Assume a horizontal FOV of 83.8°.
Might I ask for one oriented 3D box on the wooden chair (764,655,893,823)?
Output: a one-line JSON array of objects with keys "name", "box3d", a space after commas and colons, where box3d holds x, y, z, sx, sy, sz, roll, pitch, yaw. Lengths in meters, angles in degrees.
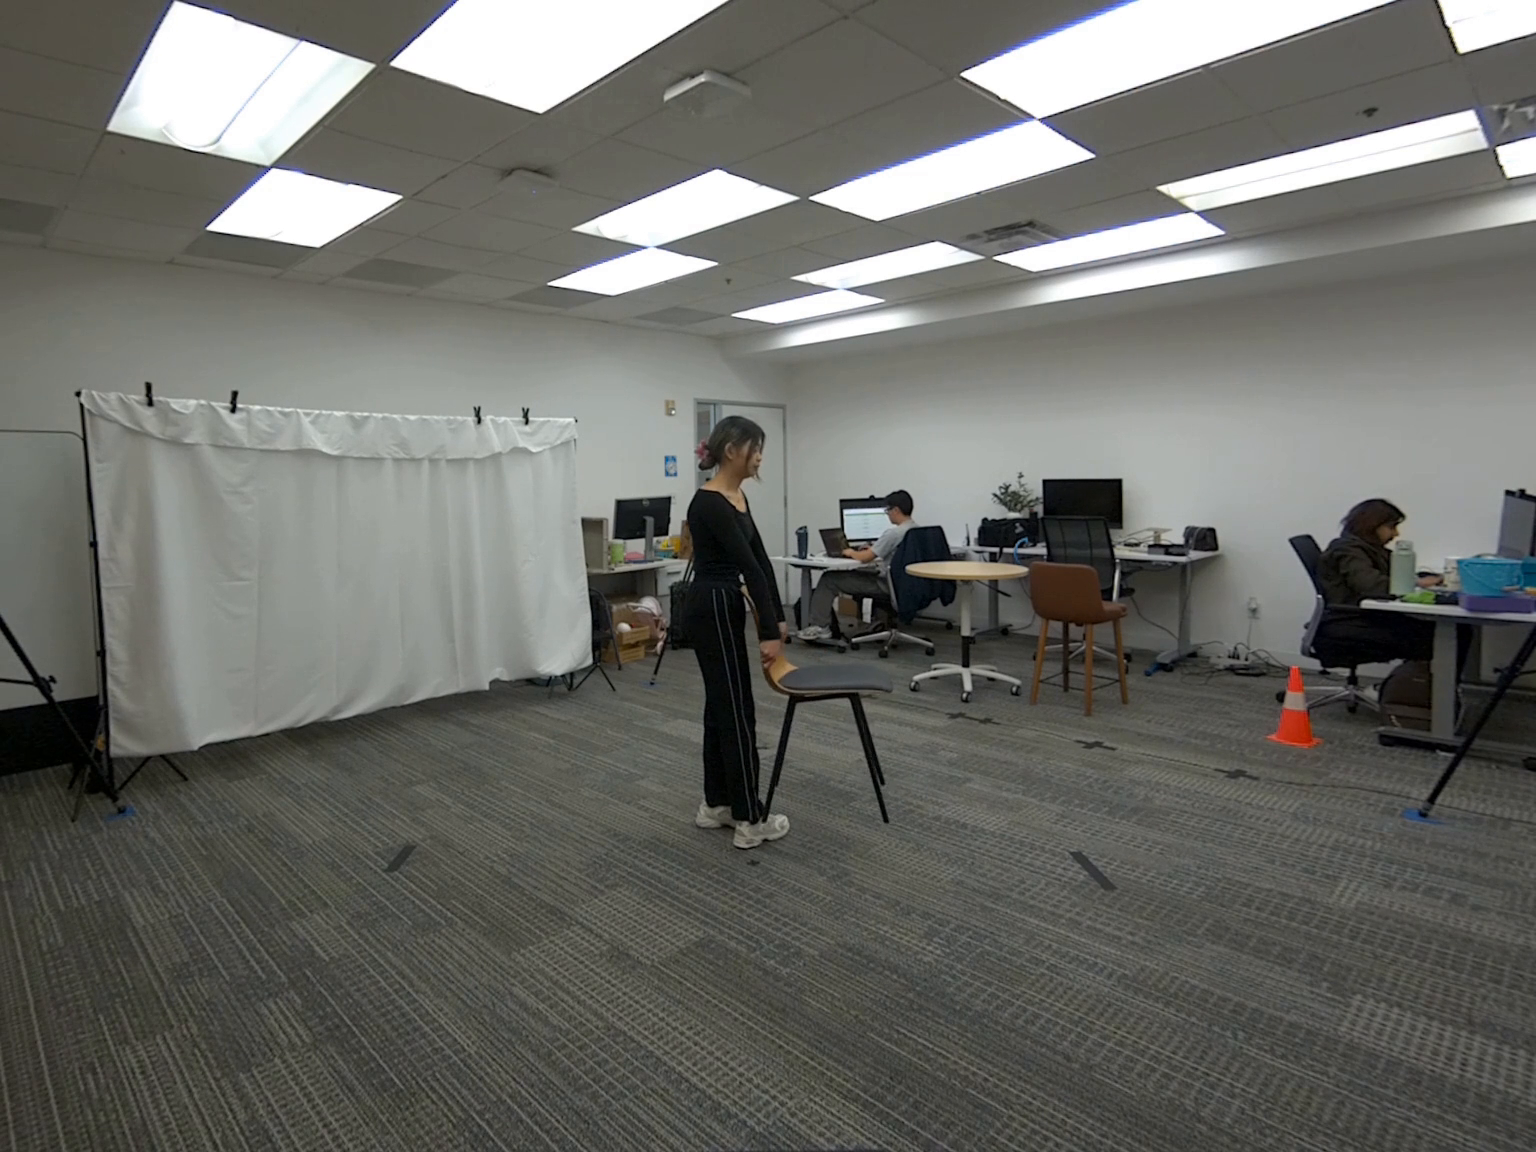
[{"name": "wooden chair", "box3d": [0.210, 0.441, 3.275, 0.527, 0.877, 0.475, -7, 1, 8]}]
